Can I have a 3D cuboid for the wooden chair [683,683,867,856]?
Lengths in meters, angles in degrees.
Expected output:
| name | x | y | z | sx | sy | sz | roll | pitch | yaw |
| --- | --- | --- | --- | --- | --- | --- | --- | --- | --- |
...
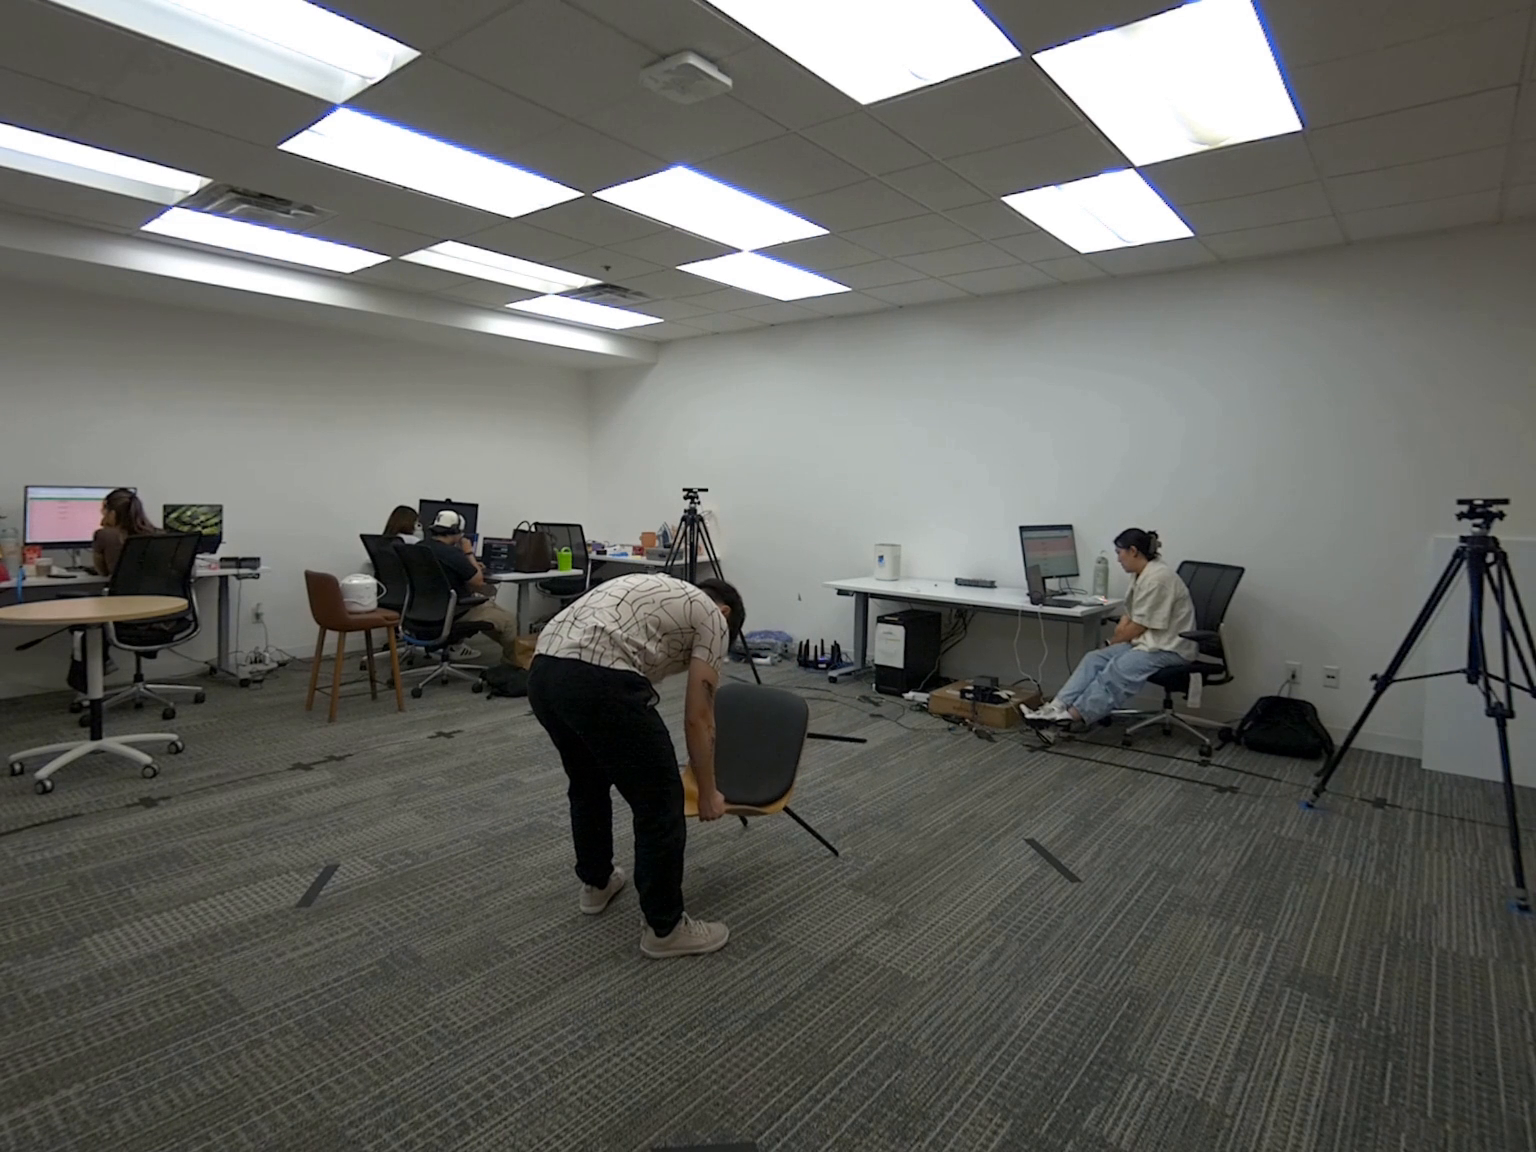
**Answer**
| name | x | y | z | sx | sy | sz | roll | pitch | yaw |
| --- | --- | --- | --- | --- | --- | --- | --- | --- | --- |
| wooden chair | -0.074 | 0.666 | 3.147 | 0.494 | 0.528 | 0.841 | 5 | -17 | 37 |
